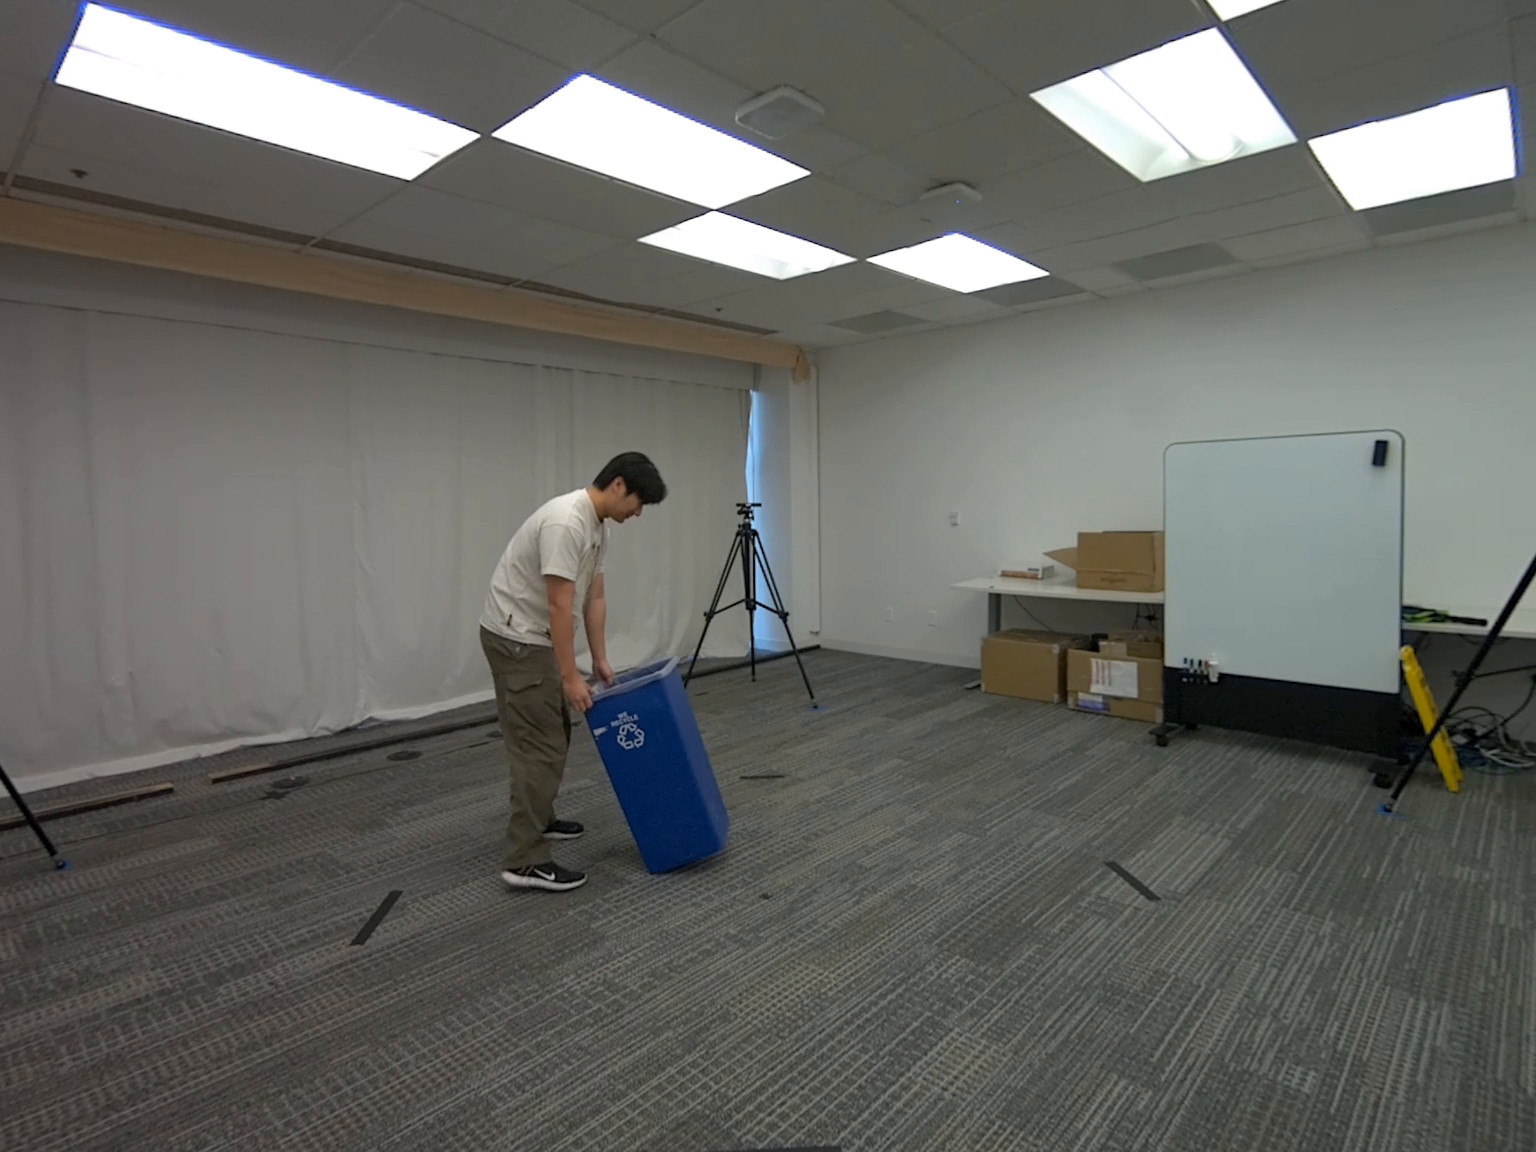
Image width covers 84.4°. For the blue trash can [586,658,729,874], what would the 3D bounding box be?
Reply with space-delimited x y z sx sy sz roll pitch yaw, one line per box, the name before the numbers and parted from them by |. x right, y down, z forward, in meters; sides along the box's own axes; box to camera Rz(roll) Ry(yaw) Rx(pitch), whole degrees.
blue trash can | -0.422 0.731 3.299 0.376 0.713 0.376 -21 1 6
